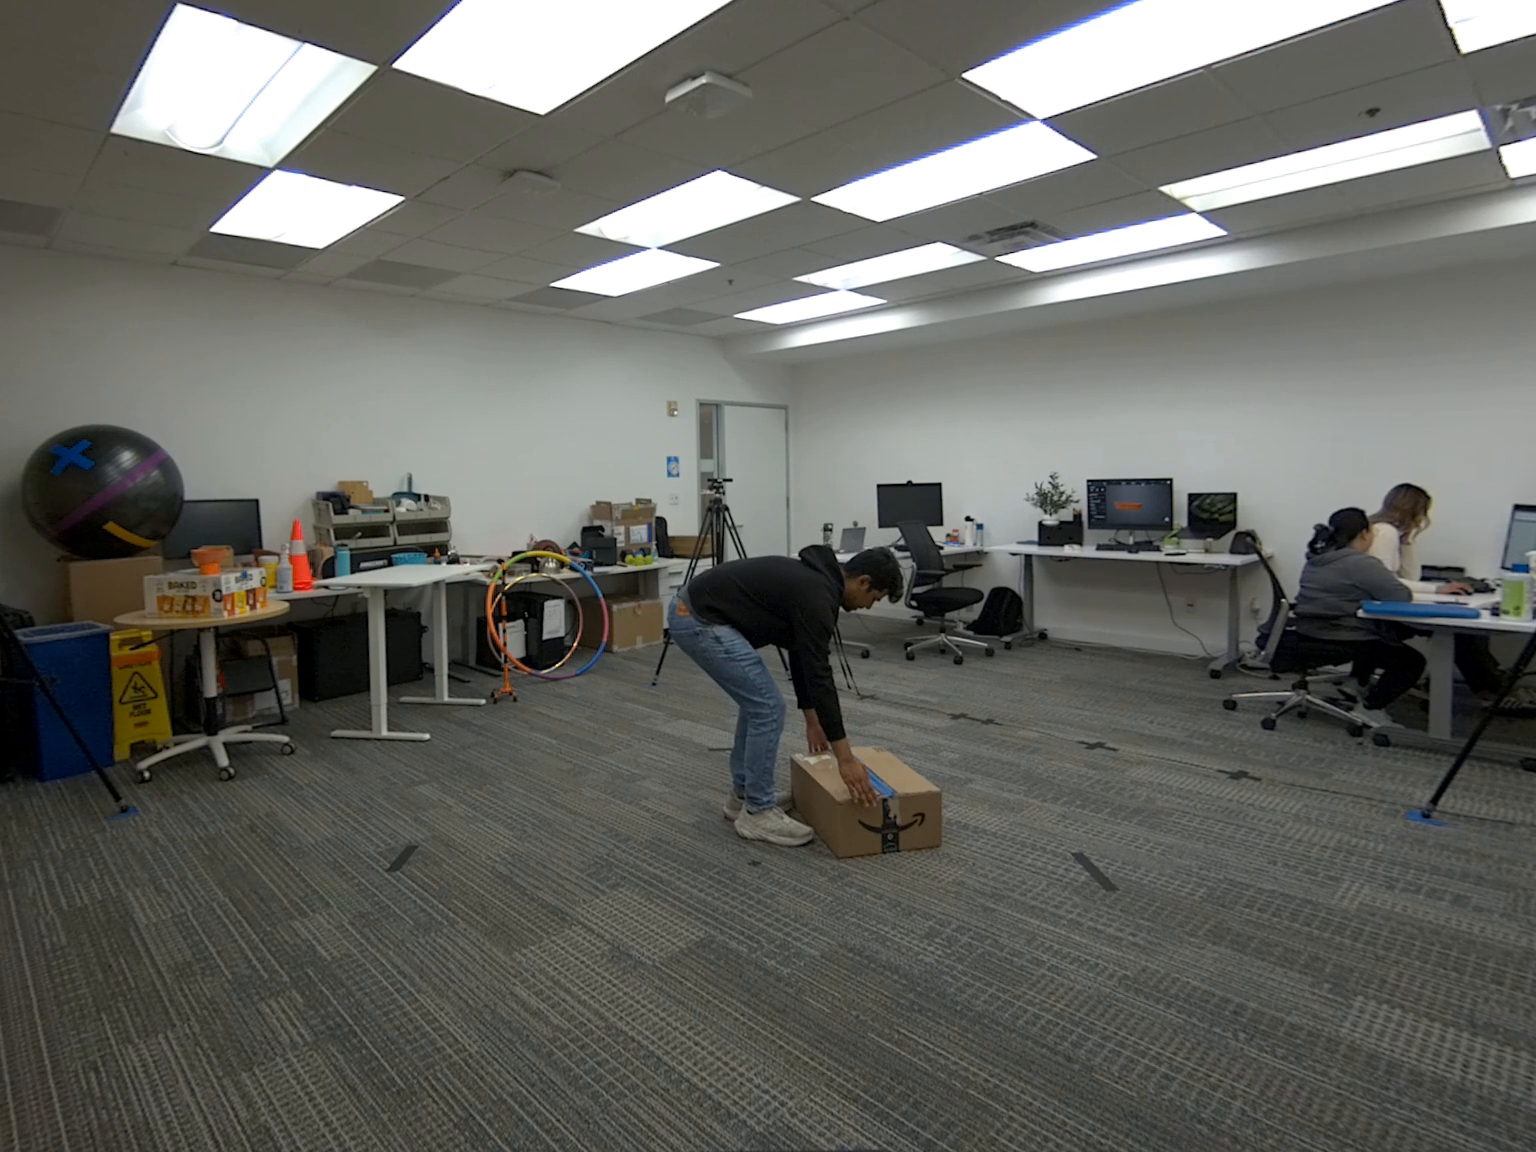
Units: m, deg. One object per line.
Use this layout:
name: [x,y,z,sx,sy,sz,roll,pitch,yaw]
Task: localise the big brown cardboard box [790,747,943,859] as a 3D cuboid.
big brown cardboard box: [0.372,0.883,3.439,0.412,0.232,0.600,-3,7,-16]
